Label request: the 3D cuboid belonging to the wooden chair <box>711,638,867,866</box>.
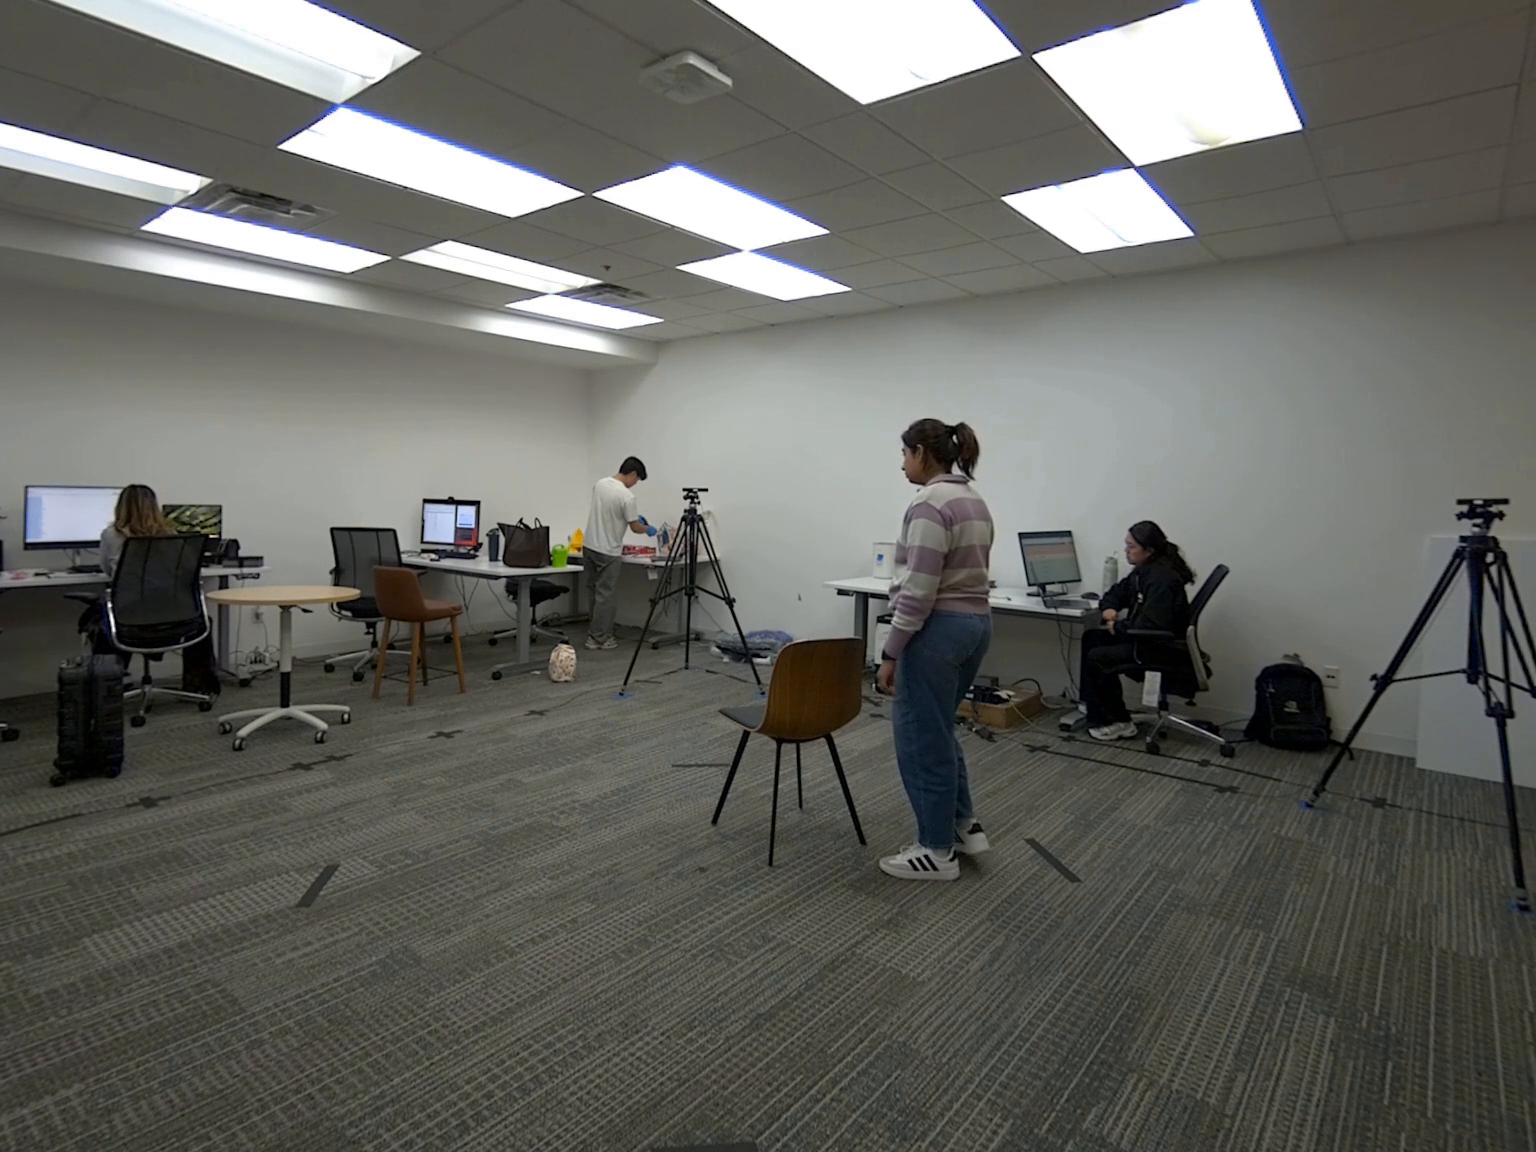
[{"bbox_3d":[0.073,0.619,3.427,0.465,0.872,0.541,-1,8,-31],"label":"wooden chair"}]
